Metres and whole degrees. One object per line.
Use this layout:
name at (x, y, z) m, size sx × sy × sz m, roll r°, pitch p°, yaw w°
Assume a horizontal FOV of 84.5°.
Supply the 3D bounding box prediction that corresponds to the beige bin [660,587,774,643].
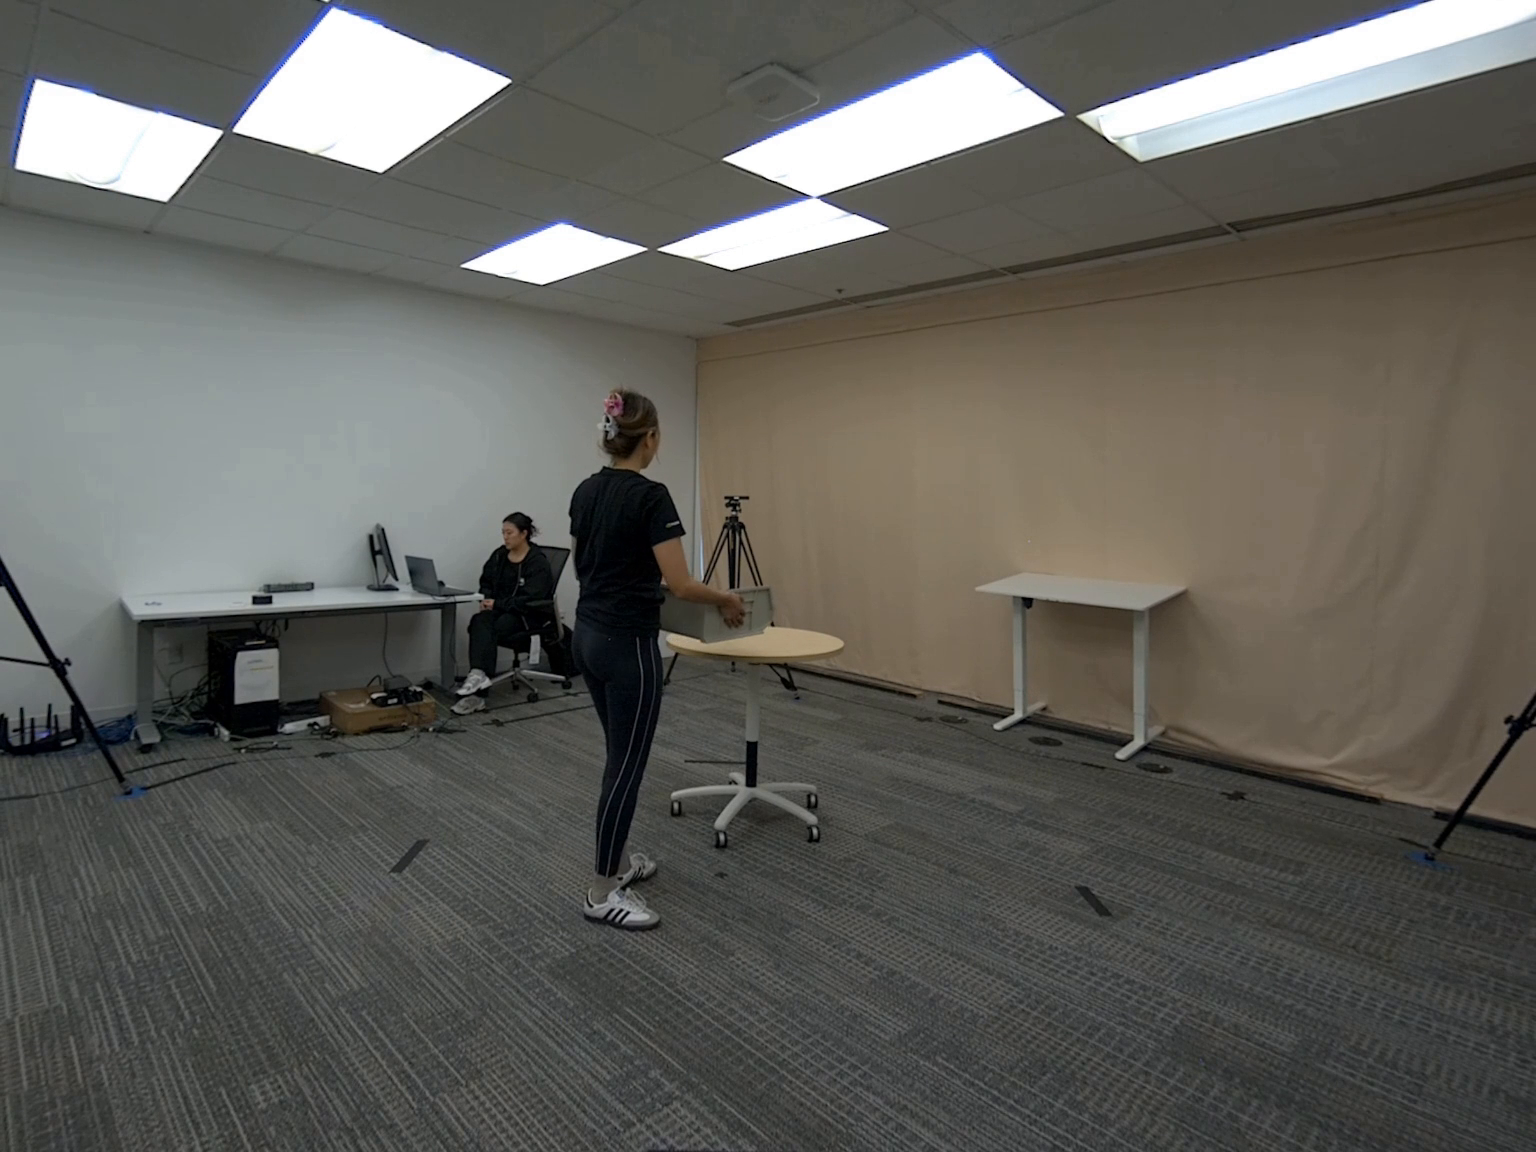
beige bin at (-0.249, 0.102, 3.117) m, size 0.434 × 0.188 × 0.369 m, roll 11°, pitch 13°, yaw 42°
